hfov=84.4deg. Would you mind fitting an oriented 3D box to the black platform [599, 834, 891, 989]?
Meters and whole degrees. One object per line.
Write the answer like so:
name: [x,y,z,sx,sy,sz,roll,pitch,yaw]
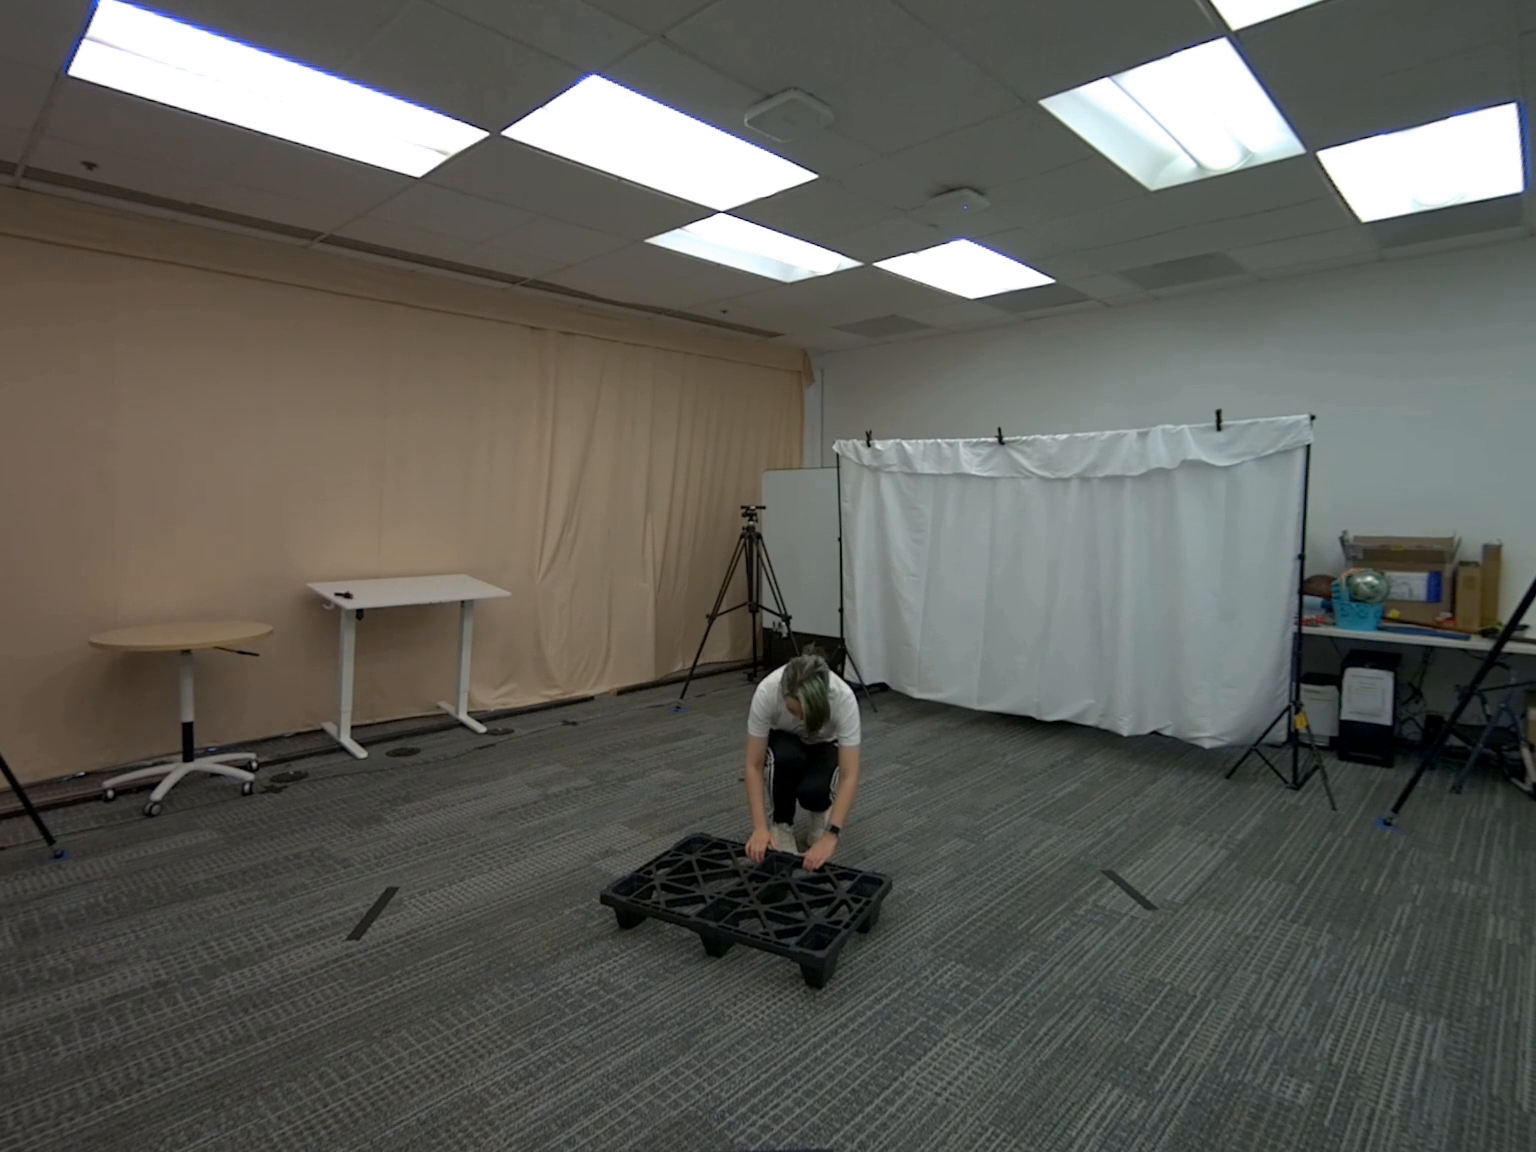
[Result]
black platform: [-0.069,1.091,2.805,0.829,0.143,0.589,3,5,29]
